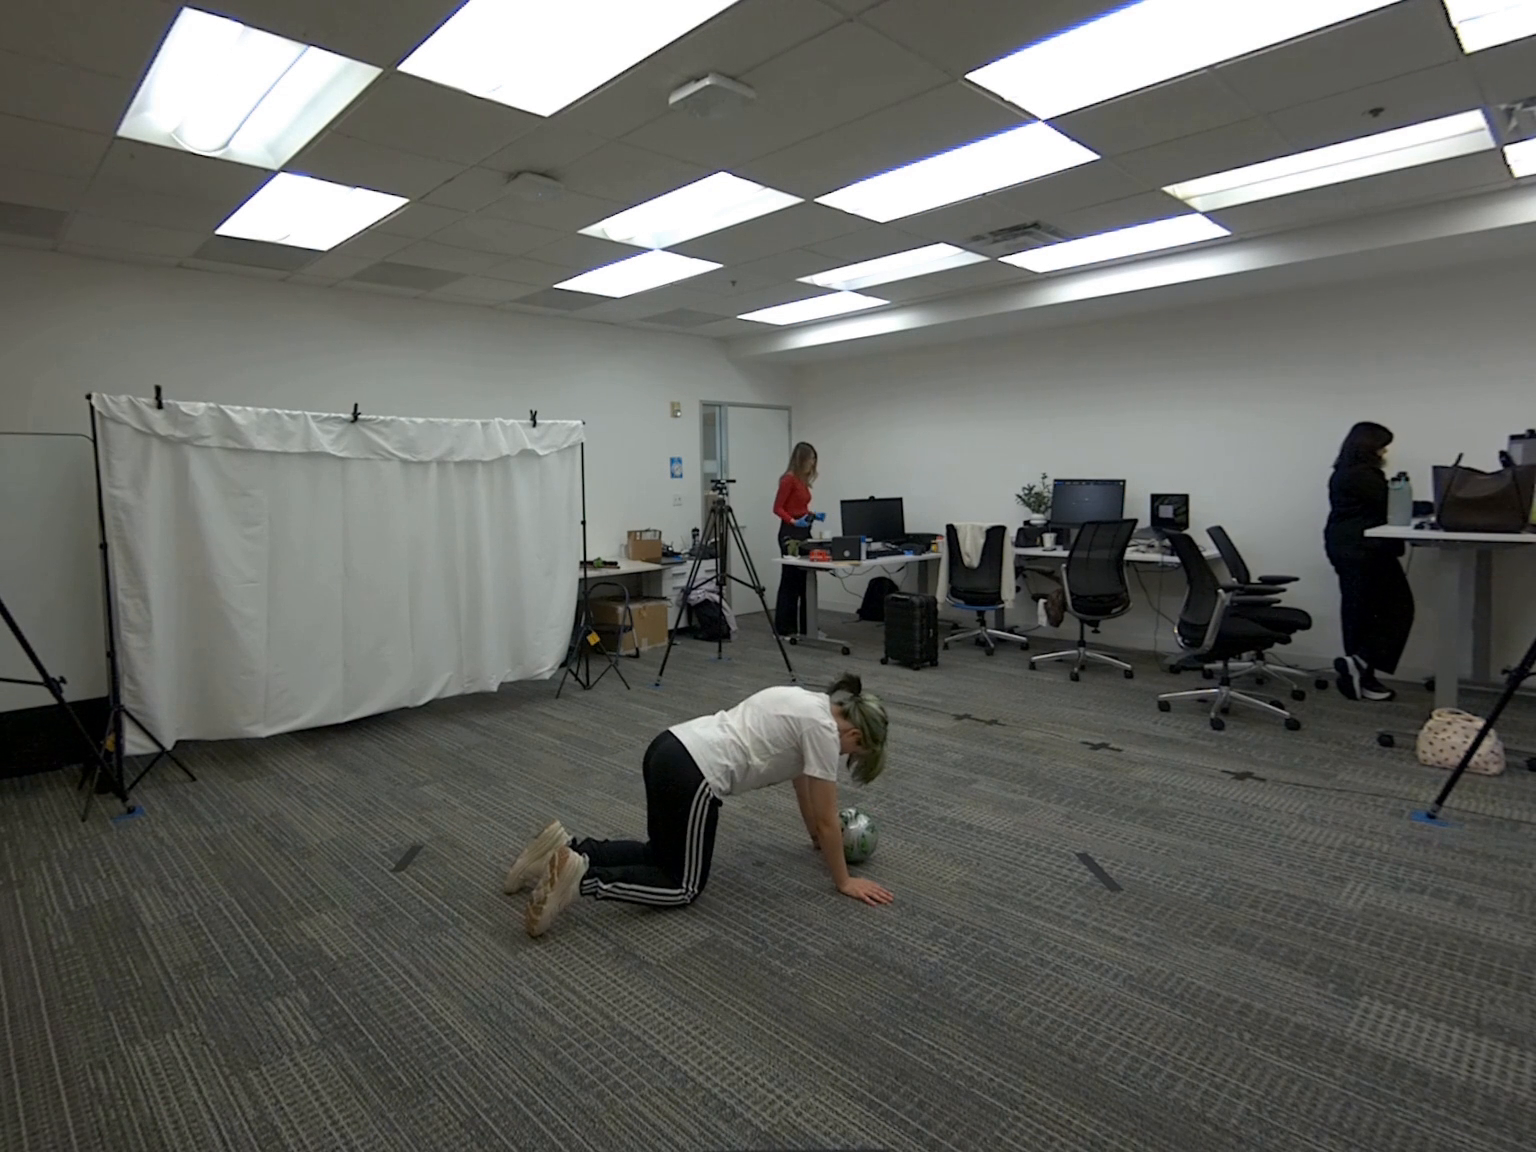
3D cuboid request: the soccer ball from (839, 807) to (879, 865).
[{"bbox_3d":[0.312,0.944,3.119,0.187,0.187,0.188,-1,5,-2],"label":"soccer ball"}]
